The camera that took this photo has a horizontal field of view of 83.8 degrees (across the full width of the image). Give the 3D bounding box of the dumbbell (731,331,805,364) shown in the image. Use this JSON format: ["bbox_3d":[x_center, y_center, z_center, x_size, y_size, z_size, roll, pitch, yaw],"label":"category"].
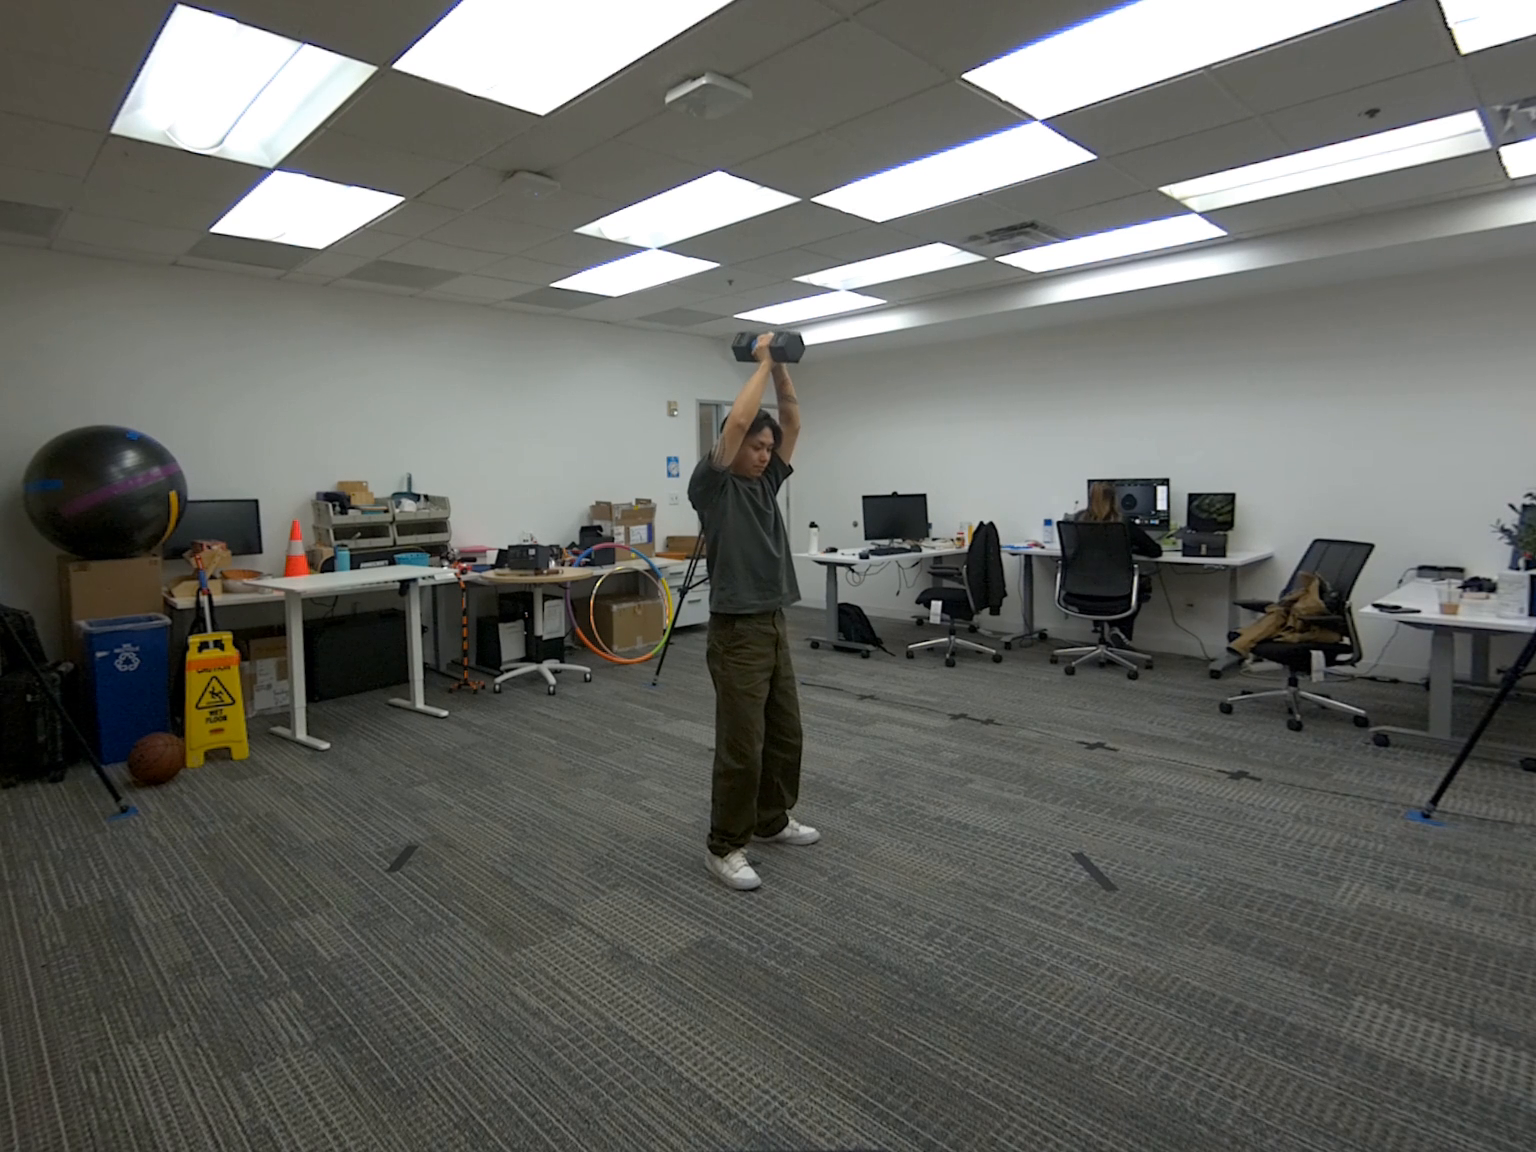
[{"bbox_3d":[0.008,-0.812,3.045,0.104,0.123,0.304,34,-10,-40],"label":"dumbbell"}]
